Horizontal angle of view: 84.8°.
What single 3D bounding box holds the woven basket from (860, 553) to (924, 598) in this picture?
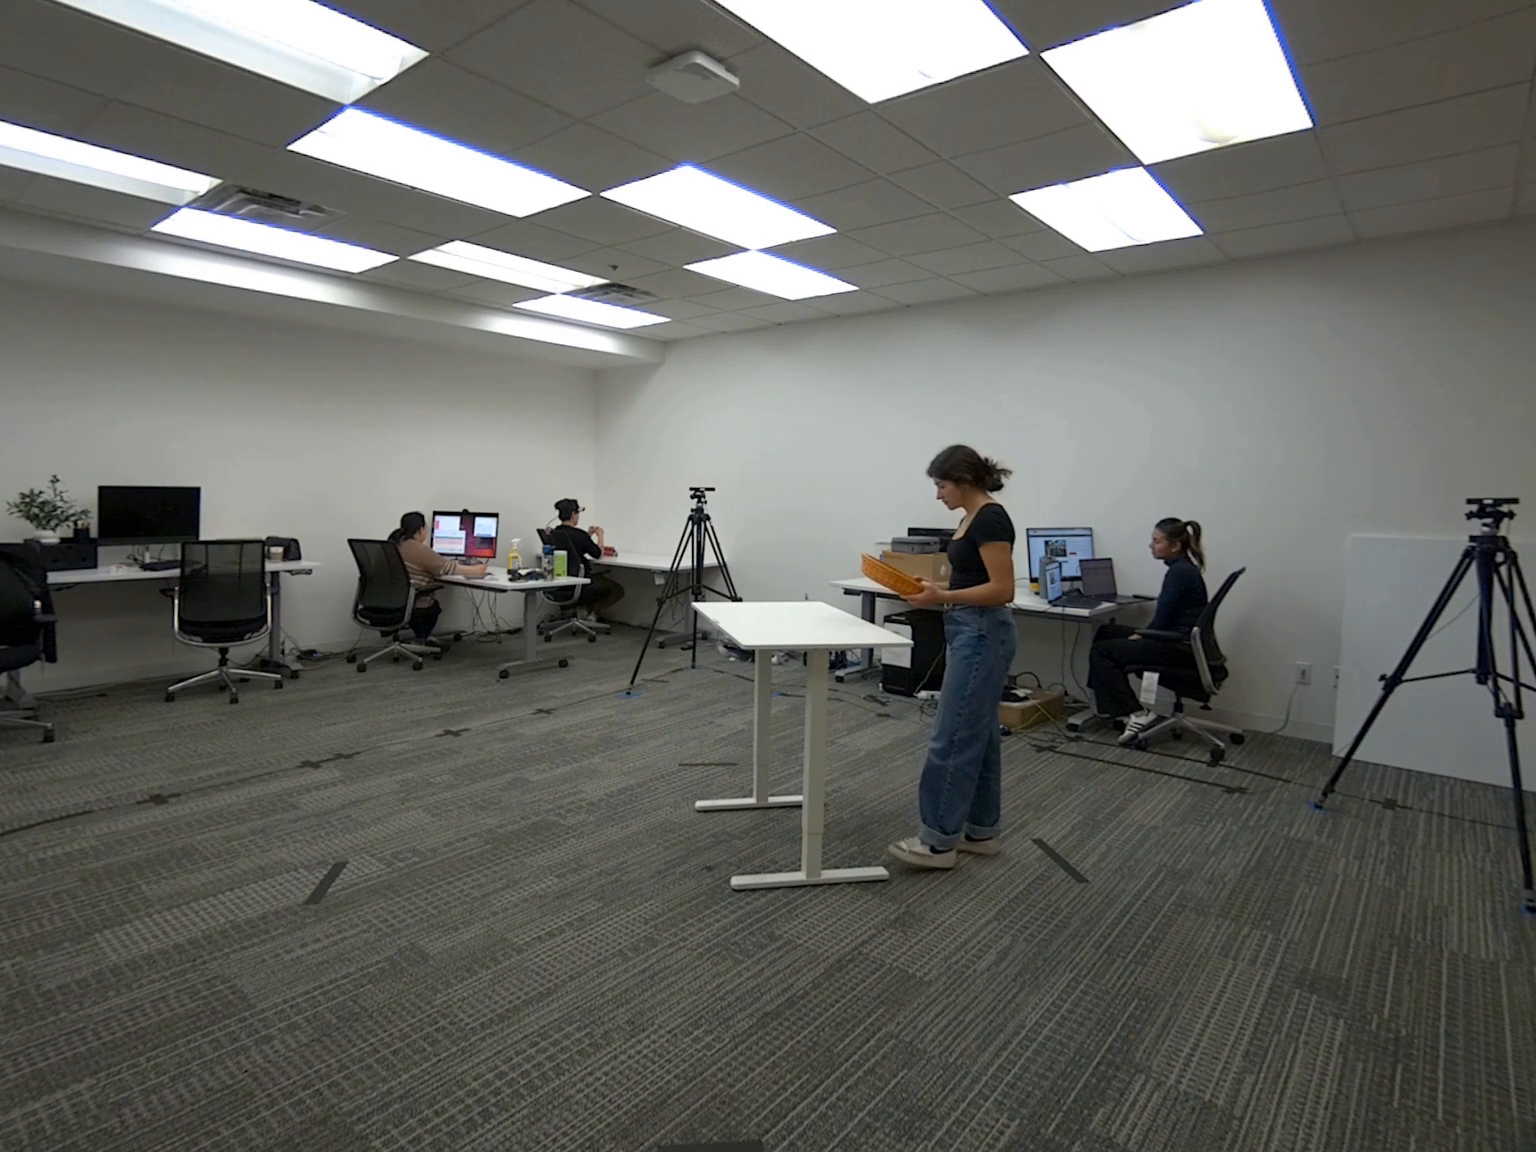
[{"bbox_3d":[0.512,0.016,3.310,0.354,0.073,0.250,28,5,6],"label":"woven basket"}]
